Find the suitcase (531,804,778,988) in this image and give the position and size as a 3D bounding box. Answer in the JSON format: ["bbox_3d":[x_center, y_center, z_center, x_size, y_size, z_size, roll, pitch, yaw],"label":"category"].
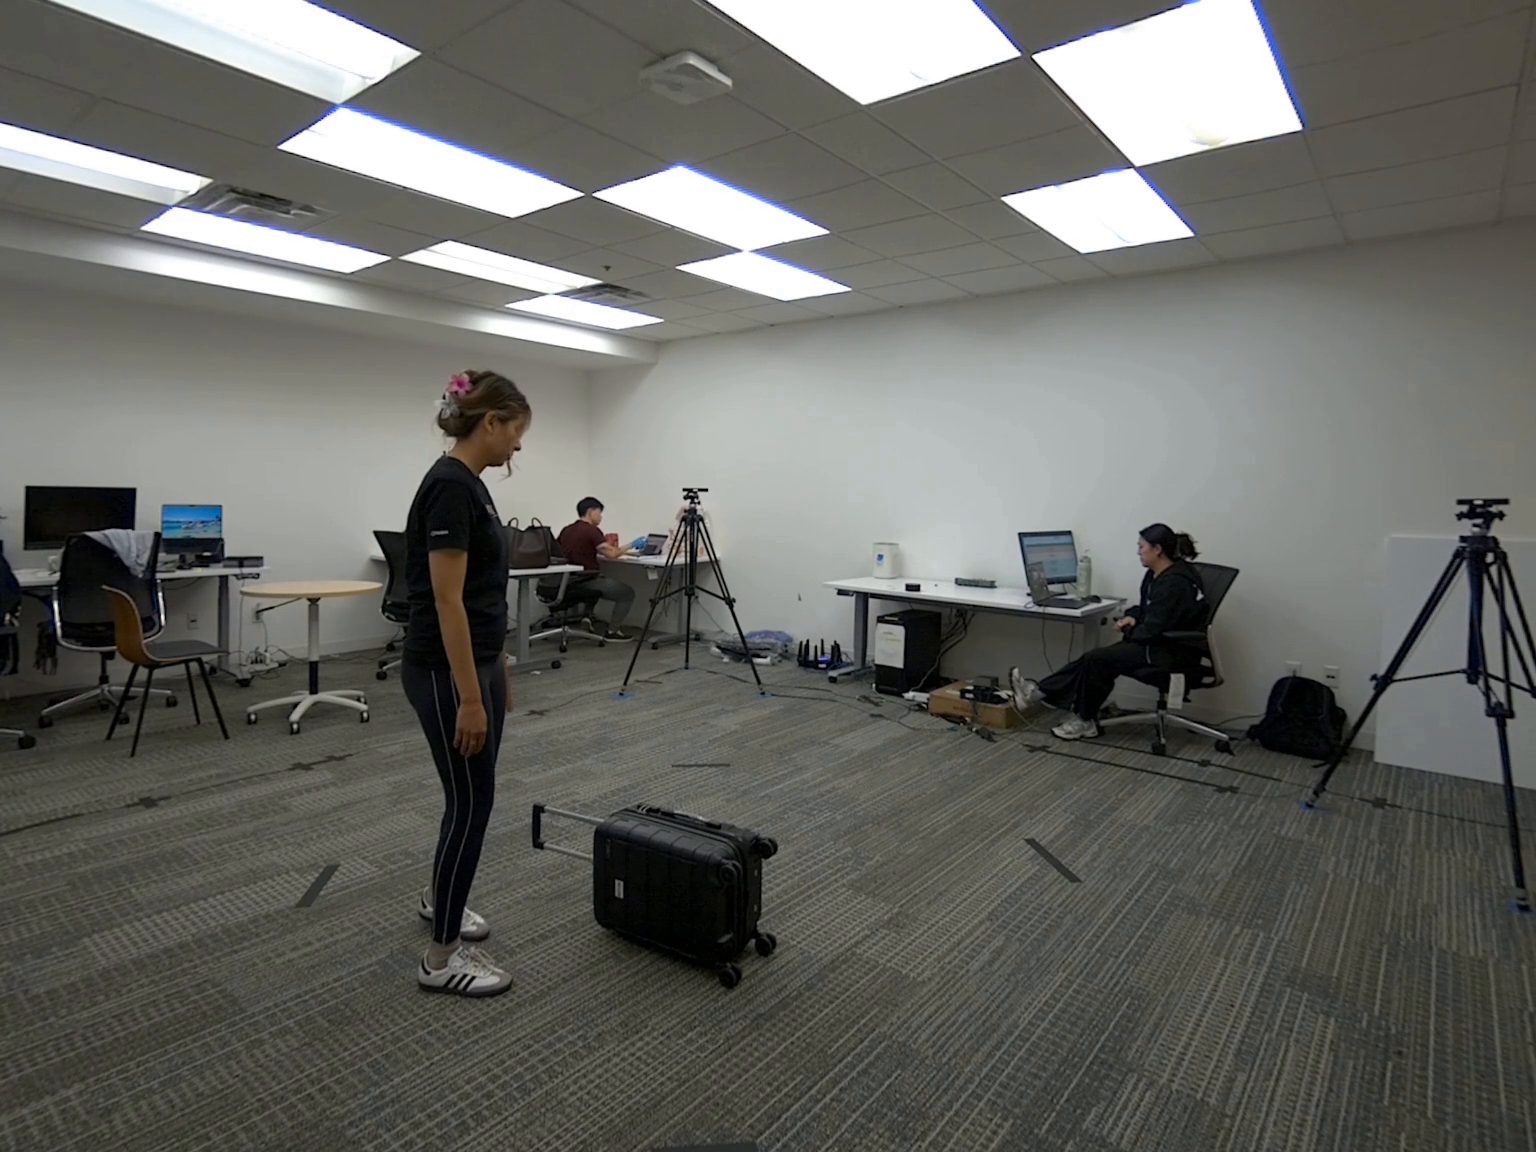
[{"bbox_3d":[-0.461,0.918,2.704,1.008,0.383,0.250,4,4,30],"label":"suitcase"}]
